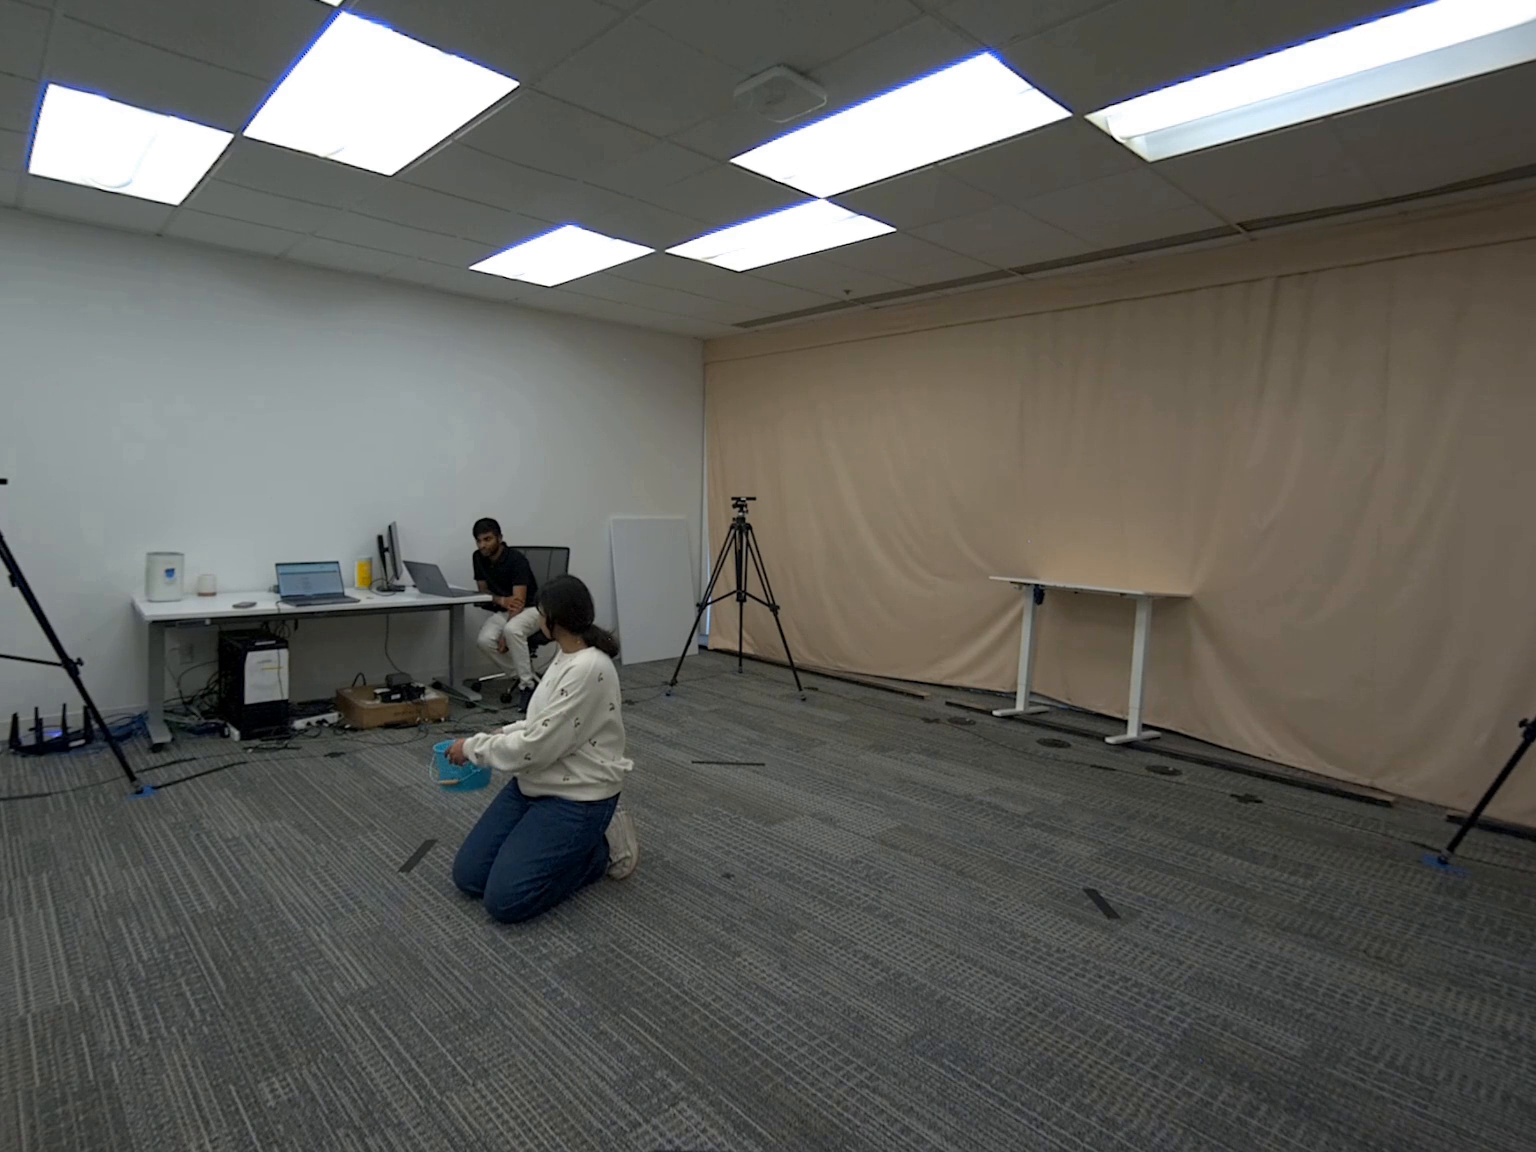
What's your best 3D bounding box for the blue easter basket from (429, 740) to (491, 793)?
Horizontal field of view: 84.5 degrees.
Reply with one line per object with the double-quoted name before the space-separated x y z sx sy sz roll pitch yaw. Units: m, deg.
"blue easter basket" -1.143 0.710 3.156 0.243 0.156 0.244 0 1 -1
